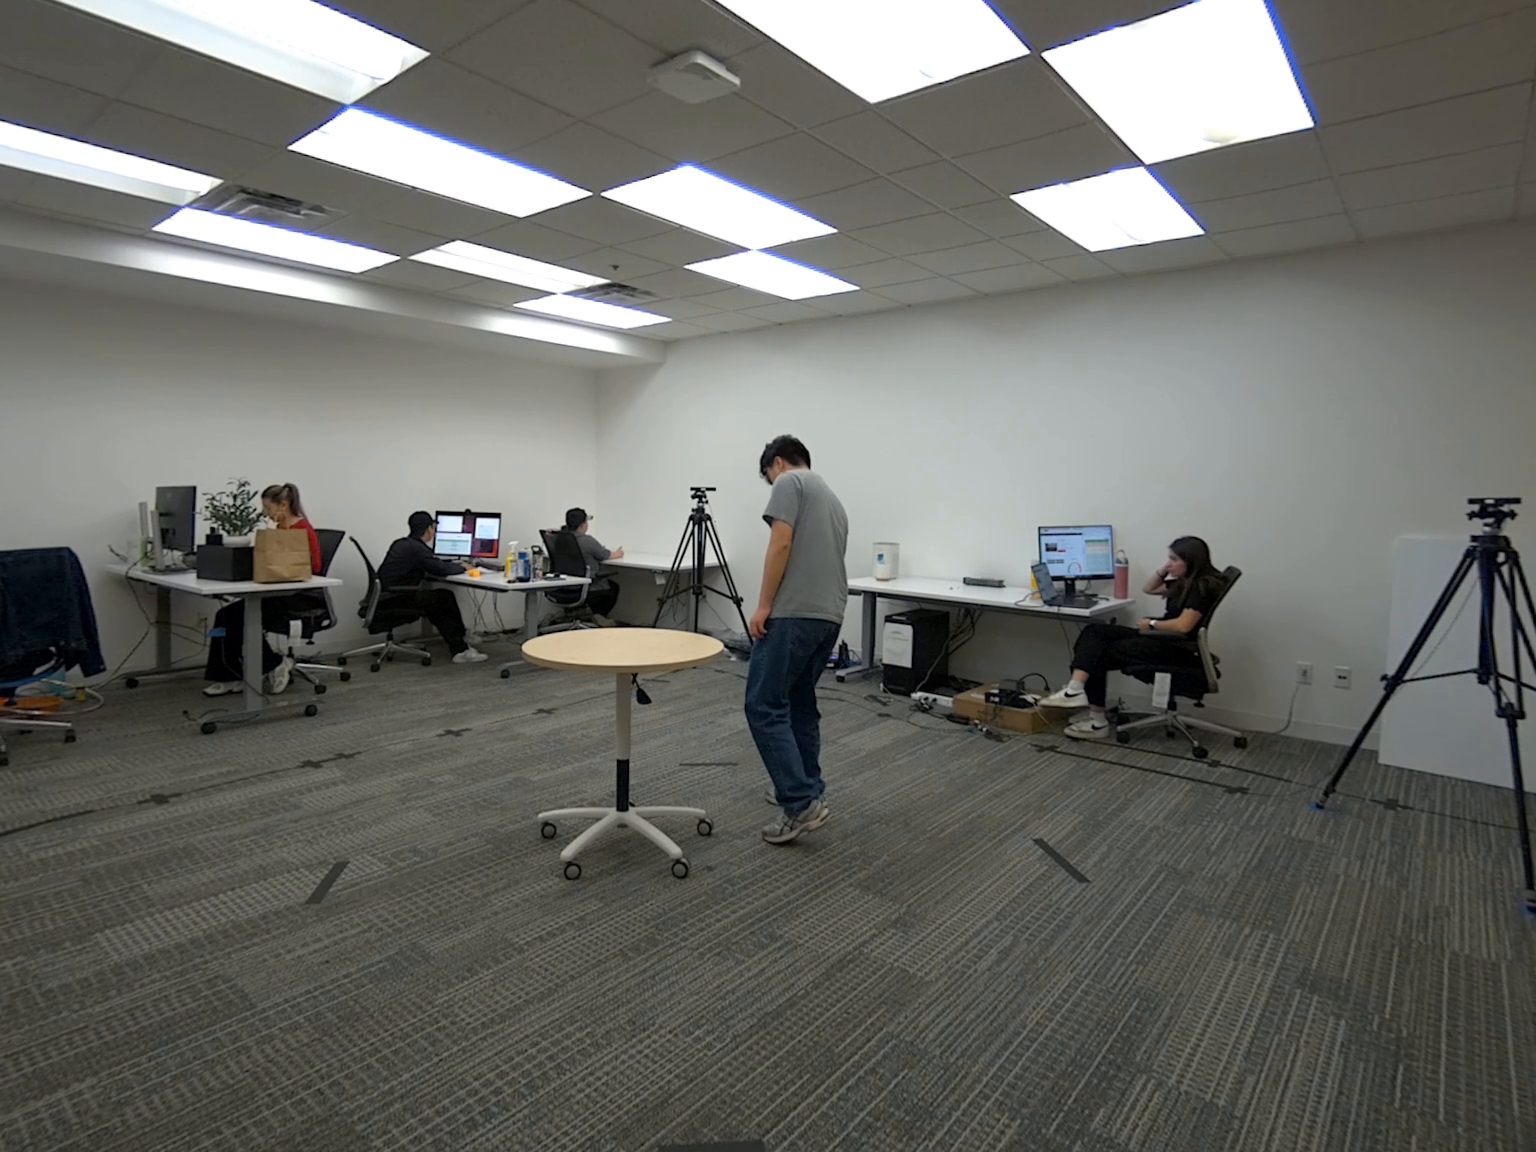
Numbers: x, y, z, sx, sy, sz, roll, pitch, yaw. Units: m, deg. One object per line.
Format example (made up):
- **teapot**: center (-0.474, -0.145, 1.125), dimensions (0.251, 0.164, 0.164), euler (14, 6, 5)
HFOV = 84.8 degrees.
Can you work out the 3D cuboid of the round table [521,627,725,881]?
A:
- **round table**: center (-0.570, 0.657, 3.272), dimensions (0.763, 0.791, 0.768), euler (0, 4, -2)
